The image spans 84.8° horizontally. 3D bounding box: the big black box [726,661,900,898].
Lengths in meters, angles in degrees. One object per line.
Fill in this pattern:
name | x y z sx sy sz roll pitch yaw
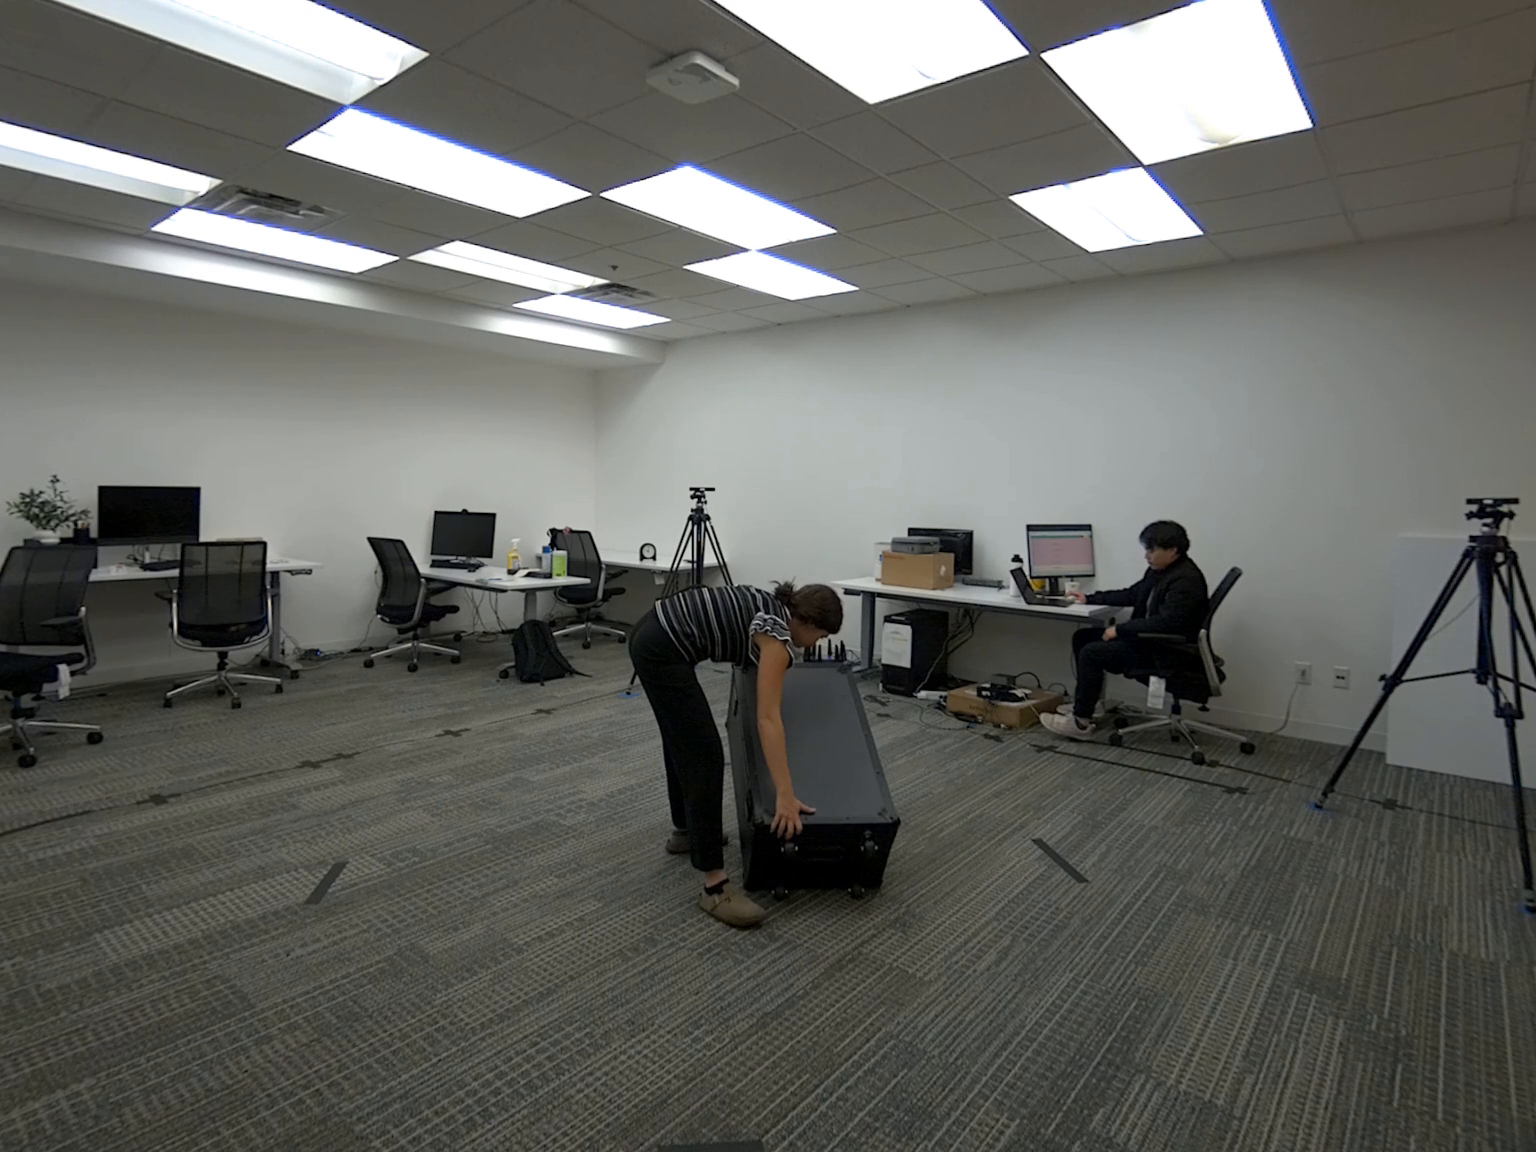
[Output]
big black box | 0.130 0.745 3.174 0.517 0.387 0.889 0 35 -9
